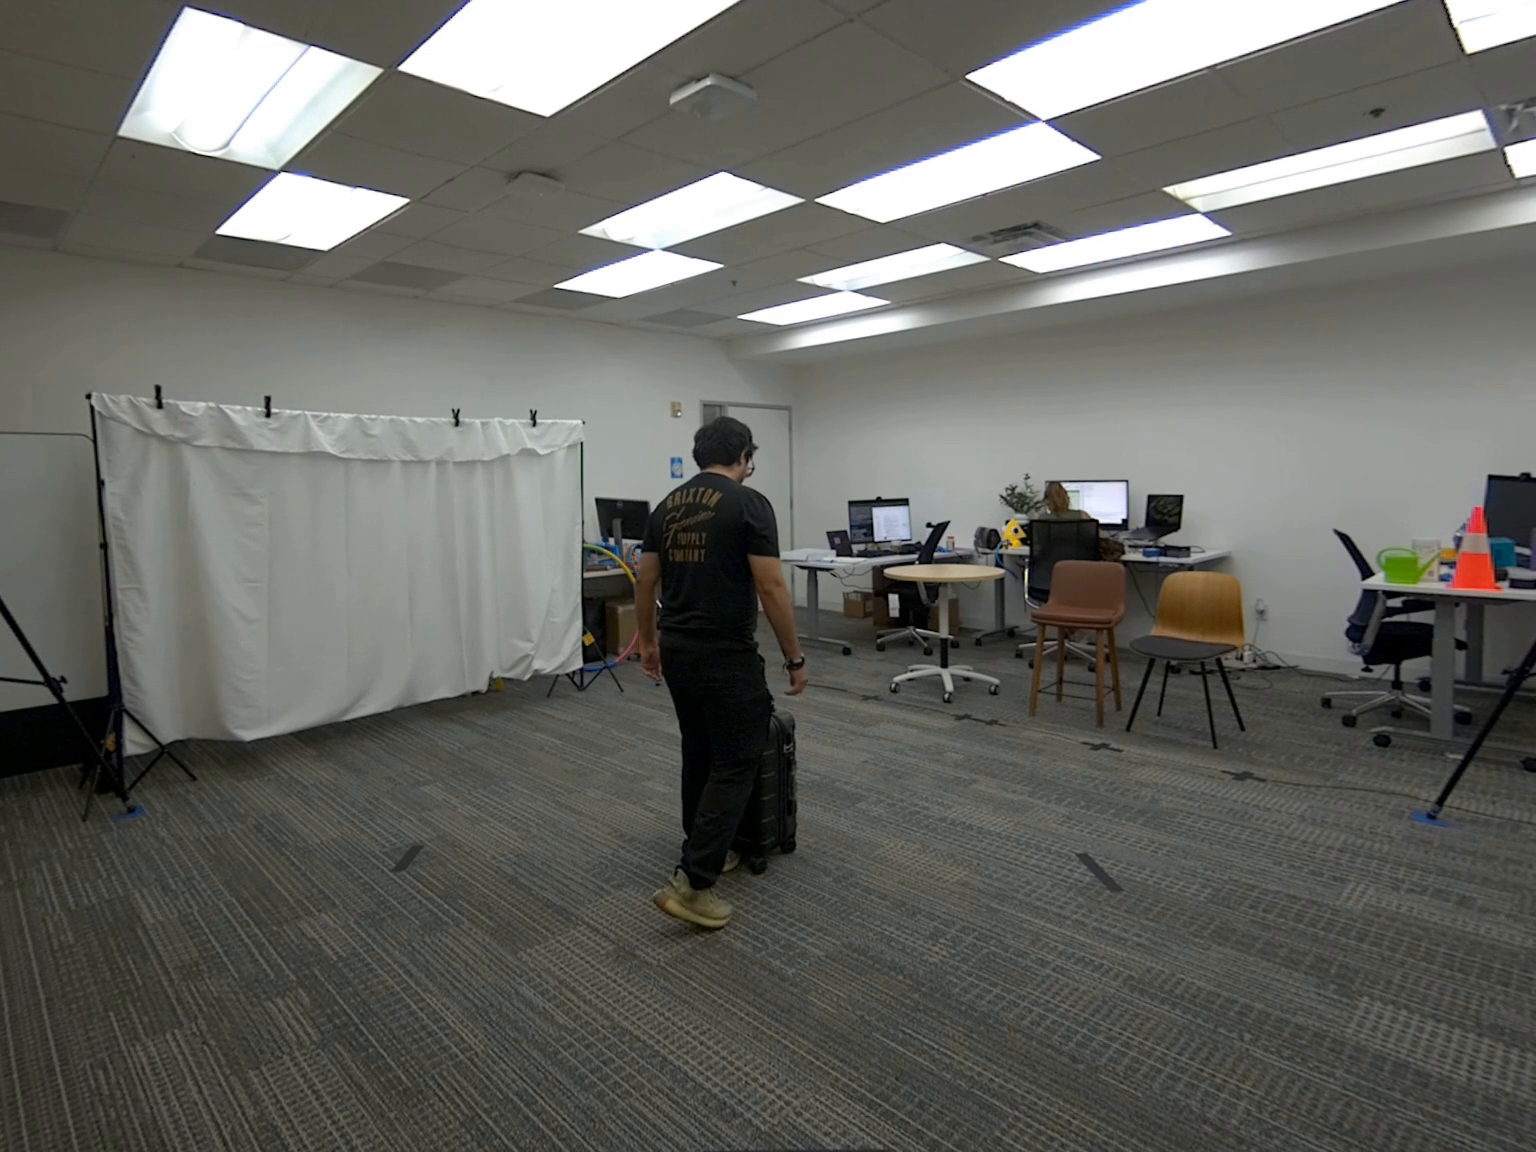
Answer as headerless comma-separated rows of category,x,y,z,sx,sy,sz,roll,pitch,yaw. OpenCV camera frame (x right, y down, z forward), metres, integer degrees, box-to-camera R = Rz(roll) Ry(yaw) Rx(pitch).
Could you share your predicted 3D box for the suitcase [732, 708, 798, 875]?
suitcase,-0.082,0.760,3.209,0.386,0.548,0.242,3,4,34
